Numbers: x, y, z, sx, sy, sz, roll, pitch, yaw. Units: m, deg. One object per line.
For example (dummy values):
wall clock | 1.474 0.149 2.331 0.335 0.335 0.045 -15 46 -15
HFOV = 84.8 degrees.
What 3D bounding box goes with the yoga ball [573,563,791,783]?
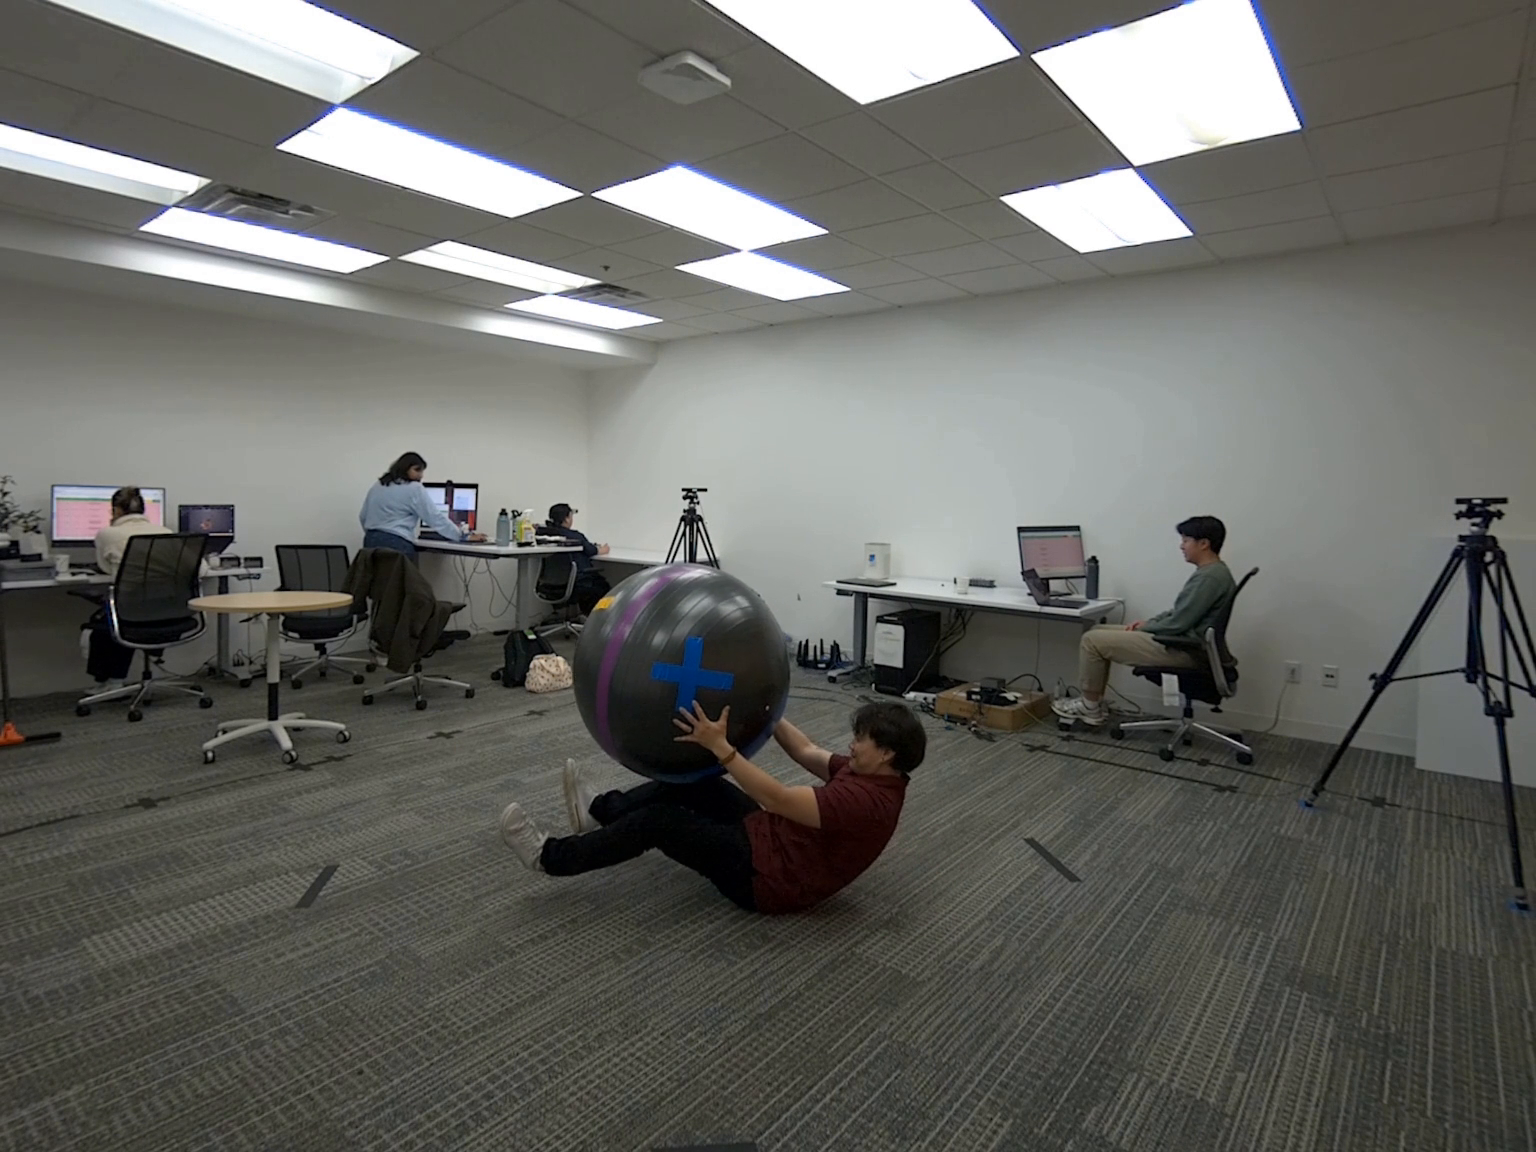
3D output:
yoga ball | -0.318 0.336 2.983 0.757 0.755 0.762 1 4 -2
